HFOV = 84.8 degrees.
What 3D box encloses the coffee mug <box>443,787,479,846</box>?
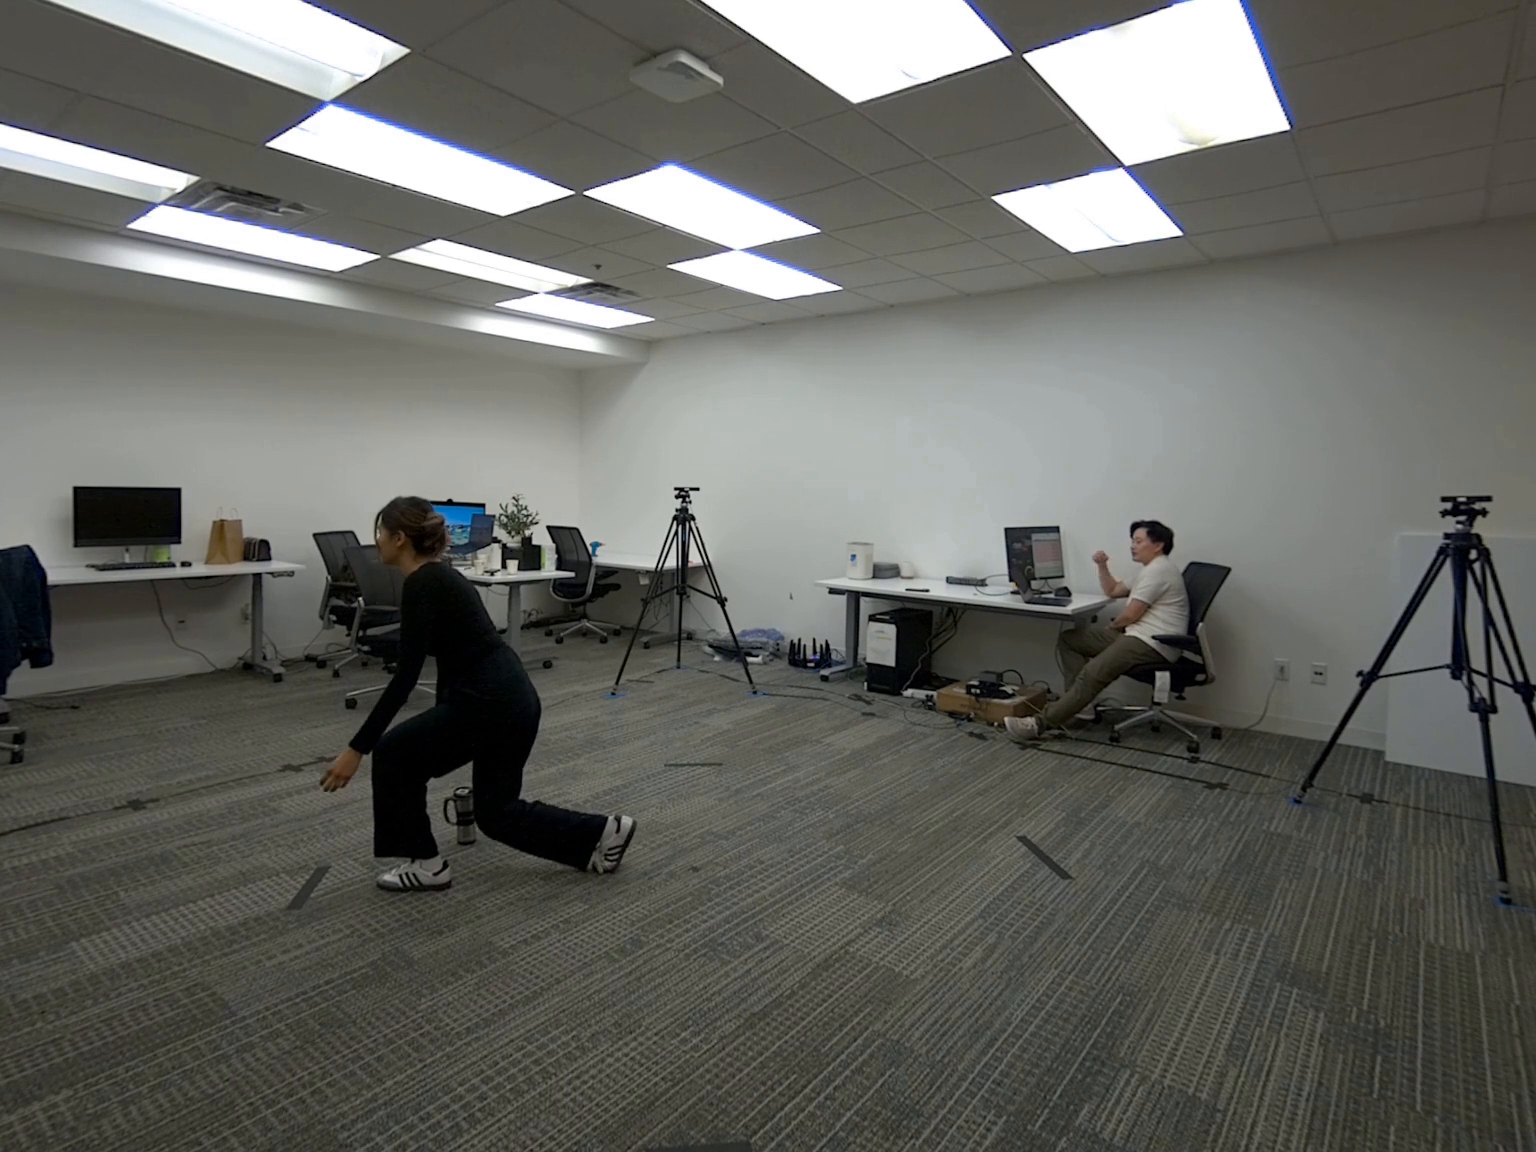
[{"bbox_3d":[-1.208,0.933,3.315,0.123,0.202,0.087,2,6,8],"label":"coffee mug"}]
